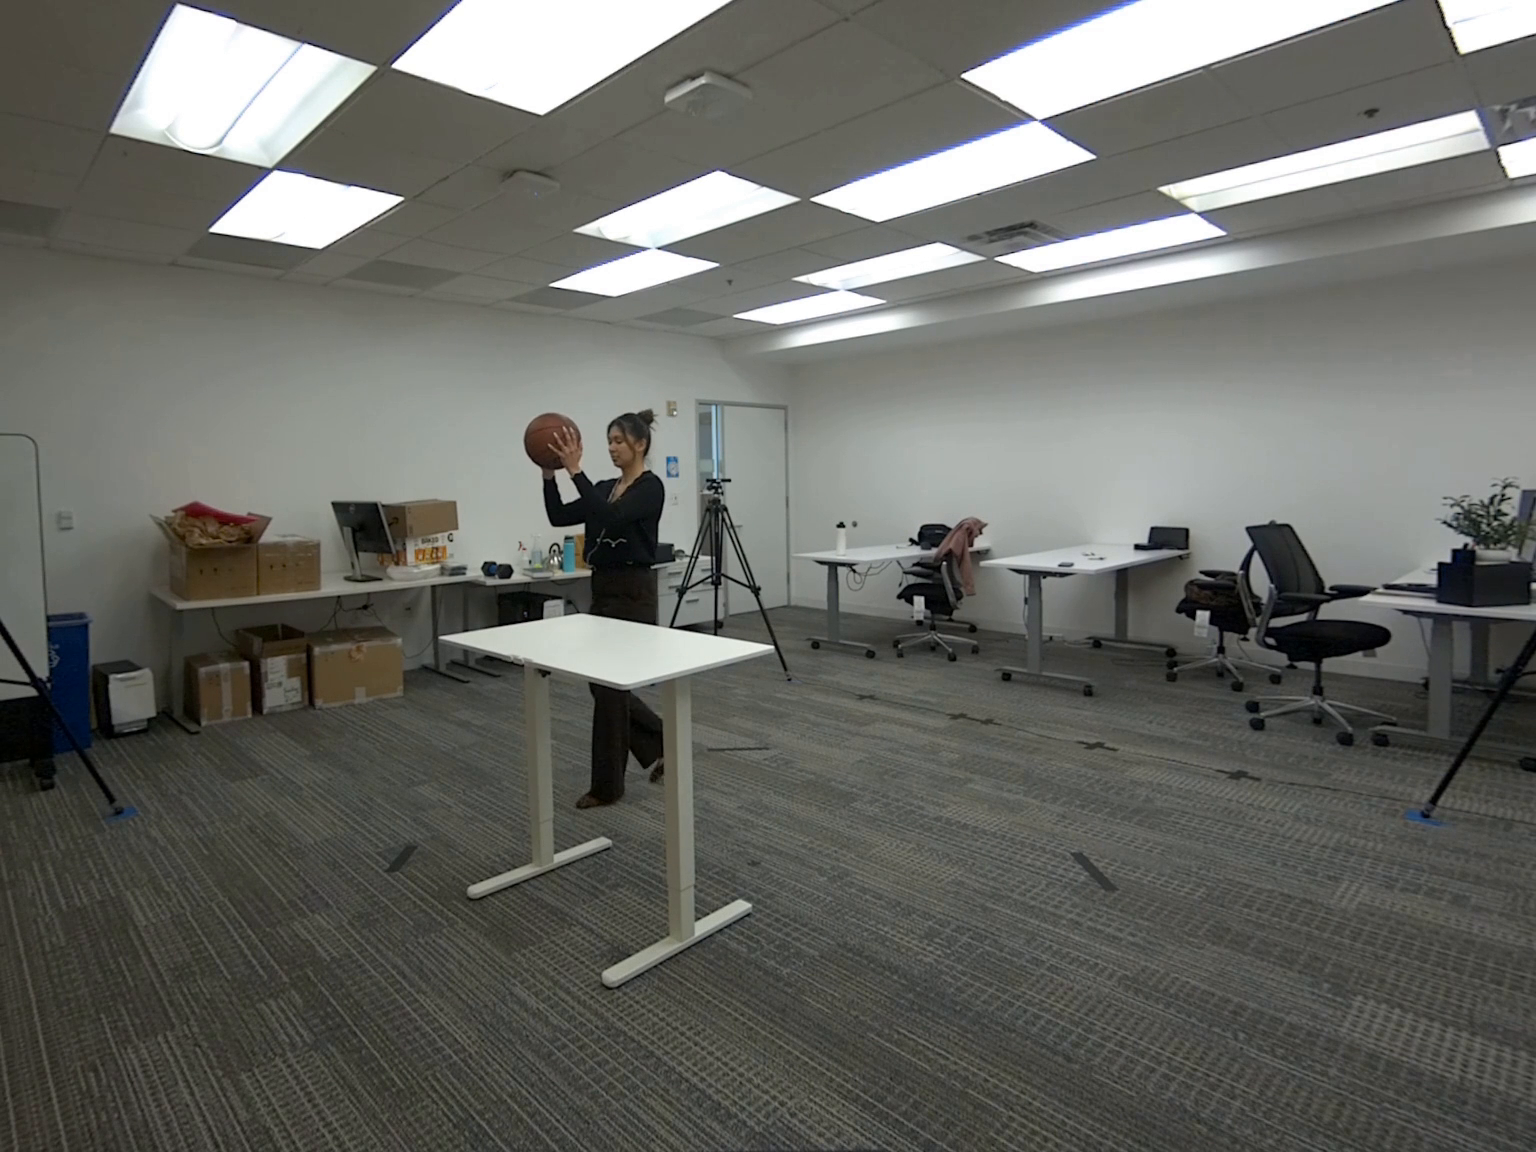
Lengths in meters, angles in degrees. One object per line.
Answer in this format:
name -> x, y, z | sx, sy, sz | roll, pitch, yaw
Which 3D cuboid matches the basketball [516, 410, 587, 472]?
basketball -> -0.892, -0.557, 3.539 | 0.236, 0.235, 0.237 | -1, 5, -2
